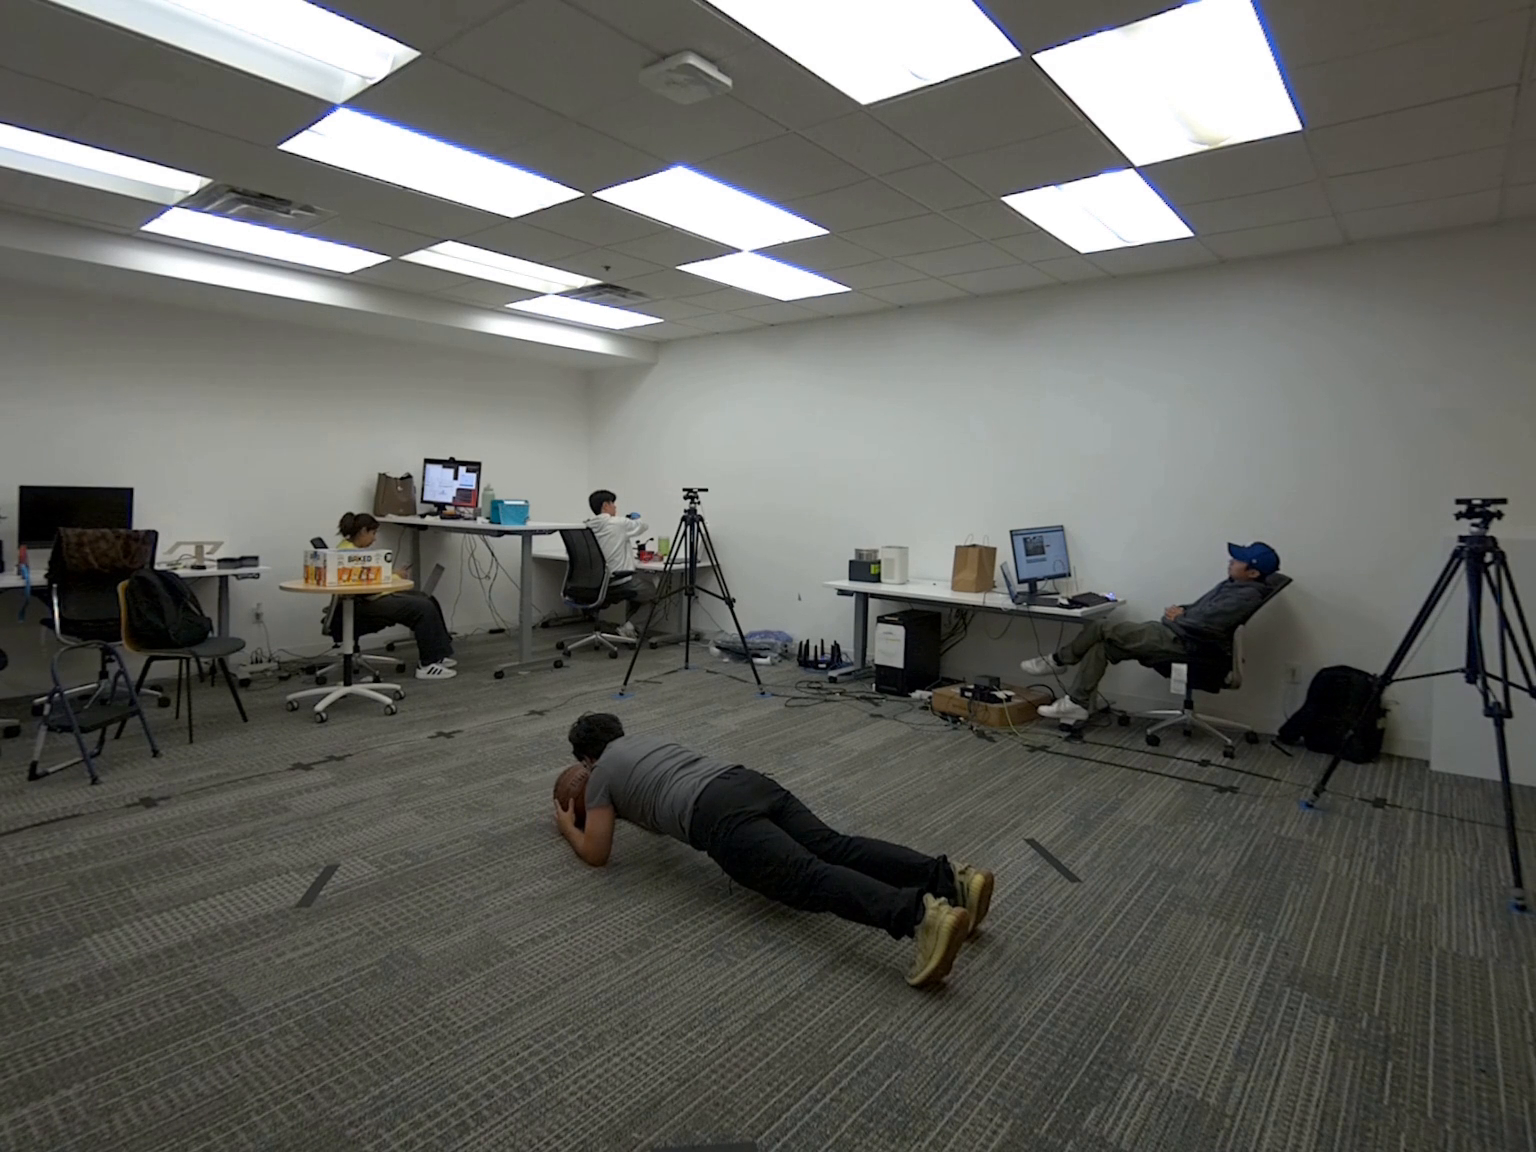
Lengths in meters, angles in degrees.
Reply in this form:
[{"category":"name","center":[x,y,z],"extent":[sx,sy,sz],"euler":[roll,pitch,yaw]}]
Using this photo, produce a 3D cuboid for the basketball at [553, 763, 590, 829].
[{"category":"basketball","center":[-0.776,0.895,3.530],"extent":[0.235,0.235,0.237],"euler":[1,4,-2]}]
